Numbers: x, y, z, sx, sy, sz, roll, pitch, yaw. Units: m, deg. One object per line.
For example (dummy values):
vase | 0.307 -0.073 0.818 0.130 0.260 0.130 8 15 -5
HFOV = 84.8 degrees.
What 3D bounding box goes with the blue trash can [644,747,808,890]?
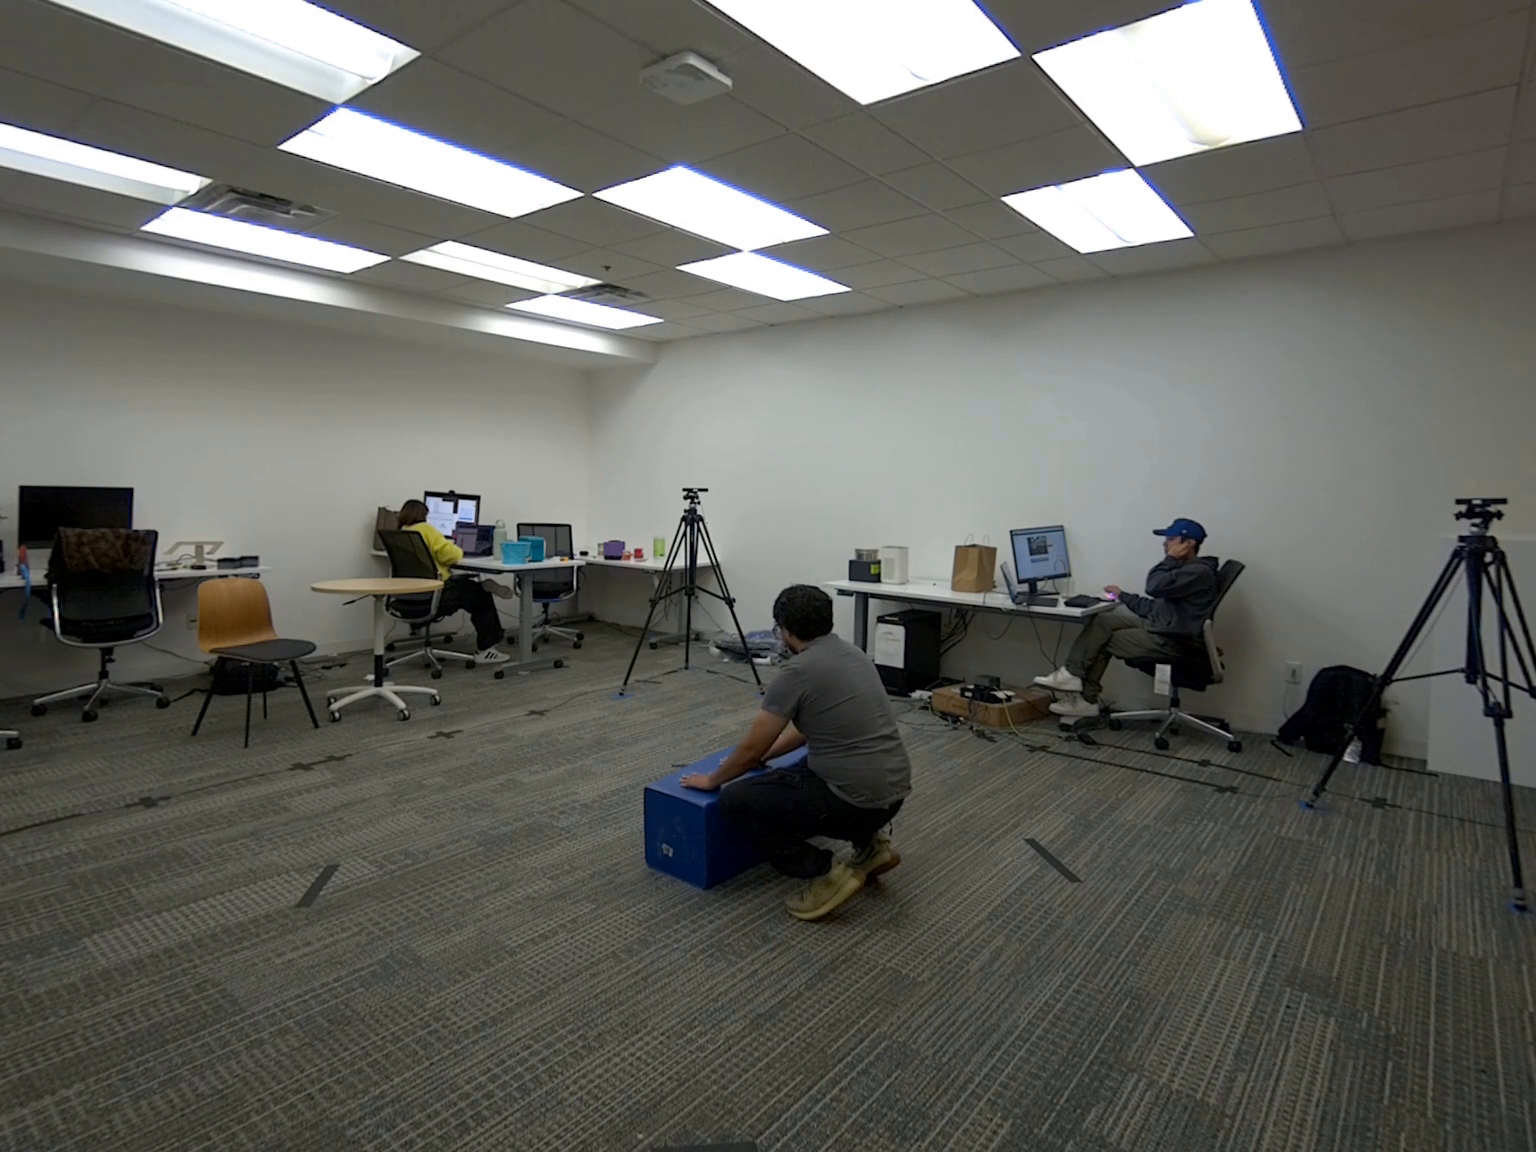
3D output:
blue trash can | -0.136 0.880 3.292 0.387 0.376 0.693 5 8 39
